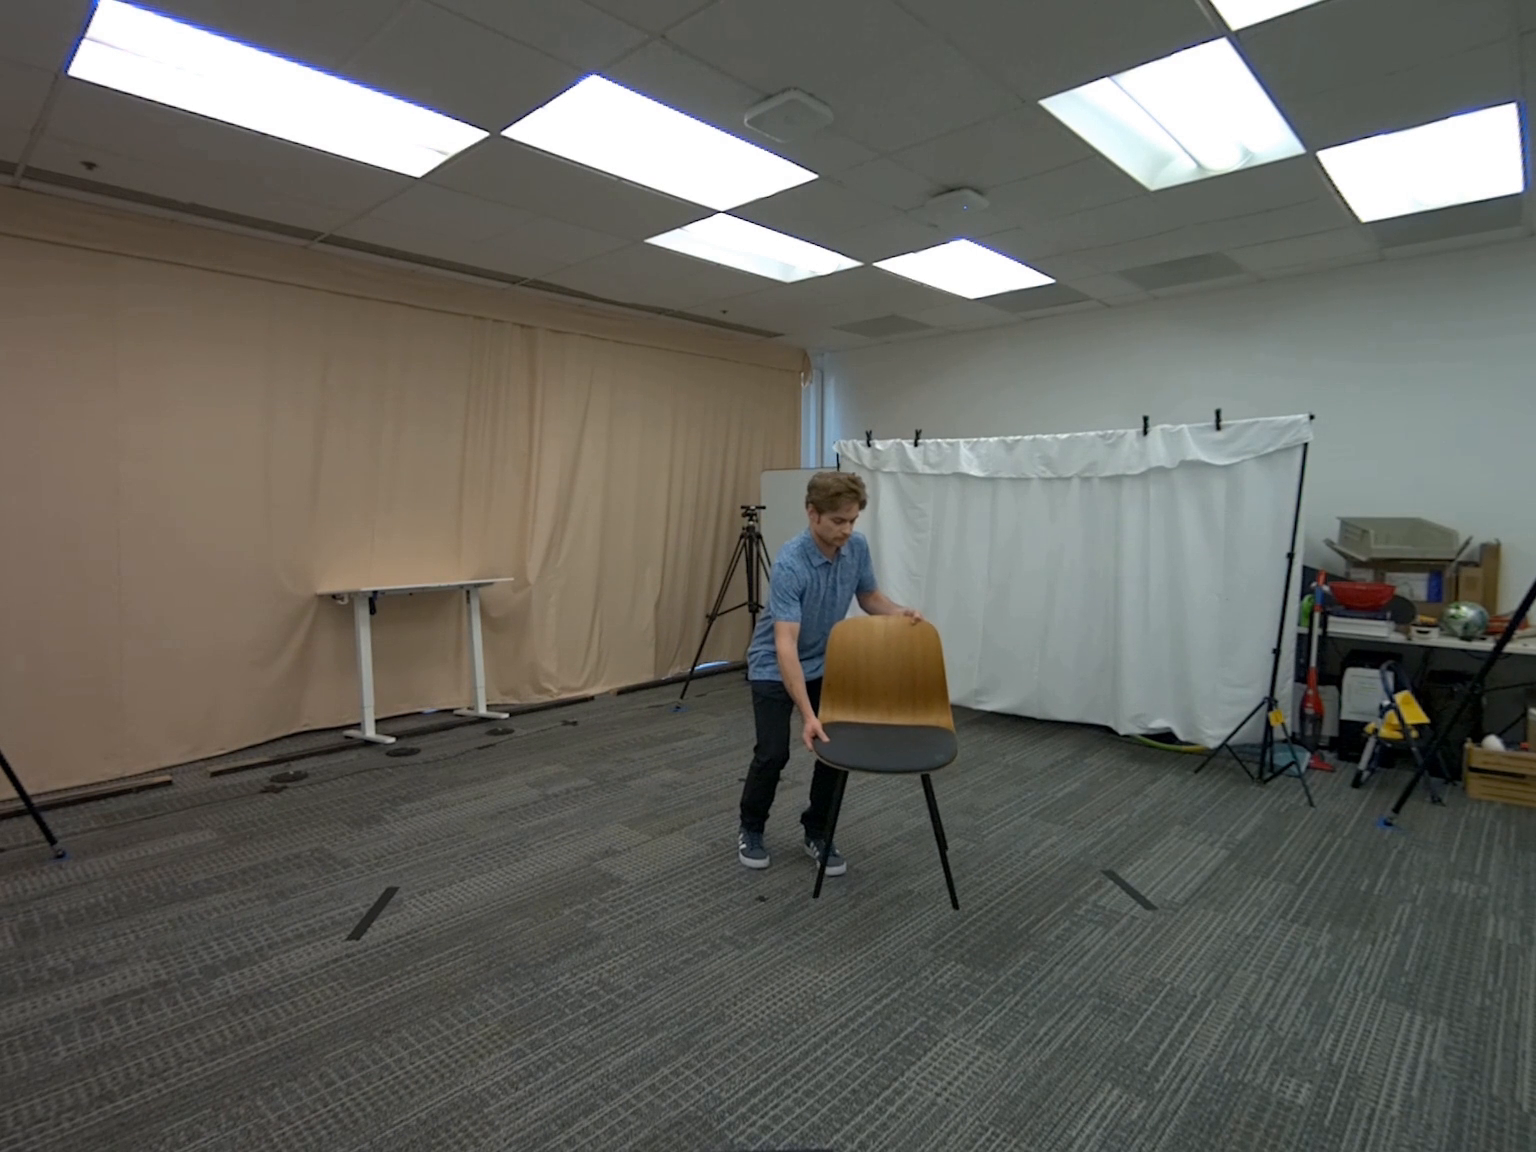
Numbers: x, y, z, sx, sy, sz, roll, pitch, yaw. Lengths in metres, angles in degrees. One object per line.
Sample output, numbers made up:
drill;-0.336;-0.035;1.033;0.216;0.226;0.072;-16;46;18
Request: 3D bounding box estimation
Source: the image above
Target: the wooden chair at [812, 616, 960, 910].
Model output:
wooden chair;0.405;0.593;2.830;0.484;0.877;0.517;0;1;10
